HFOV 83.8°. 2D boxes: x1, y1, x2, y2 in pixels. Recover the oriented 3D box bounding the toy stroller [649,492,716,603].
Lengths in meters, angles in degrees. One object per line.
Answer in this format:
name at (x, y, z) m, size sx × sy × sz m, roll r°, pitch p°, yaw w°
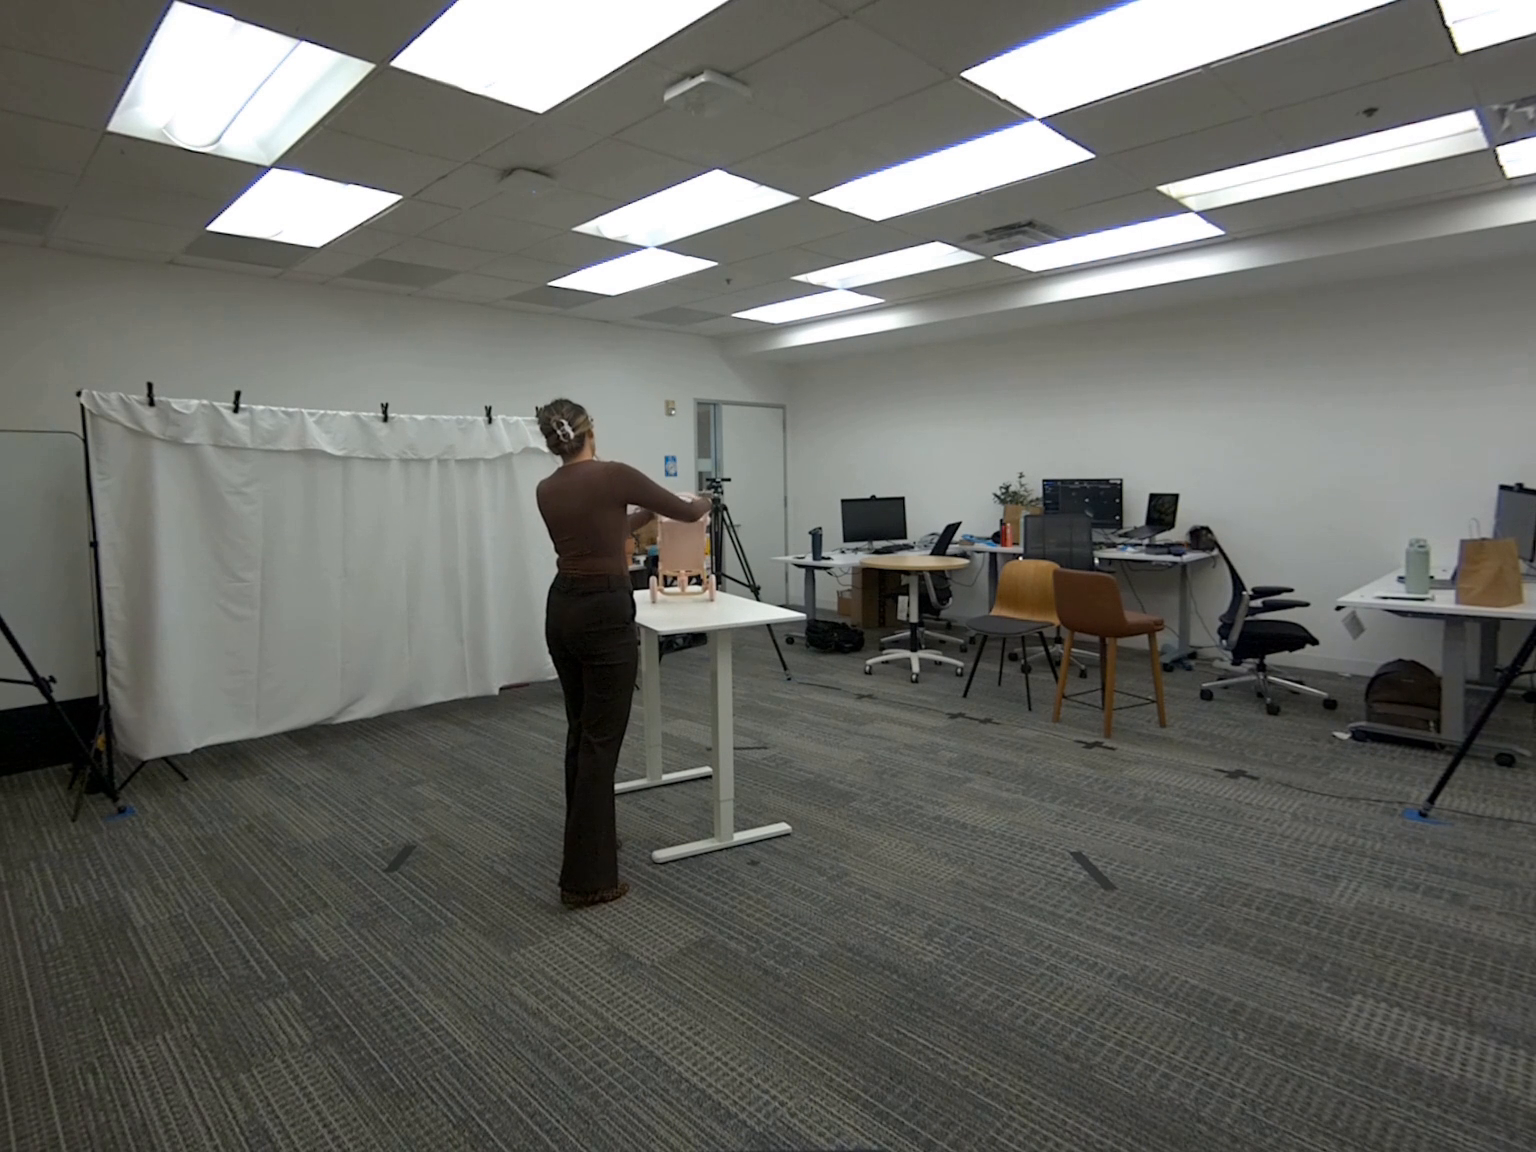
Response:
toy stroller at (-0.366, -0.116, 3.661) m, size 0.281 × 0.526 × 0.347 m, roll 0°, pitch 19°, yaw -1°
